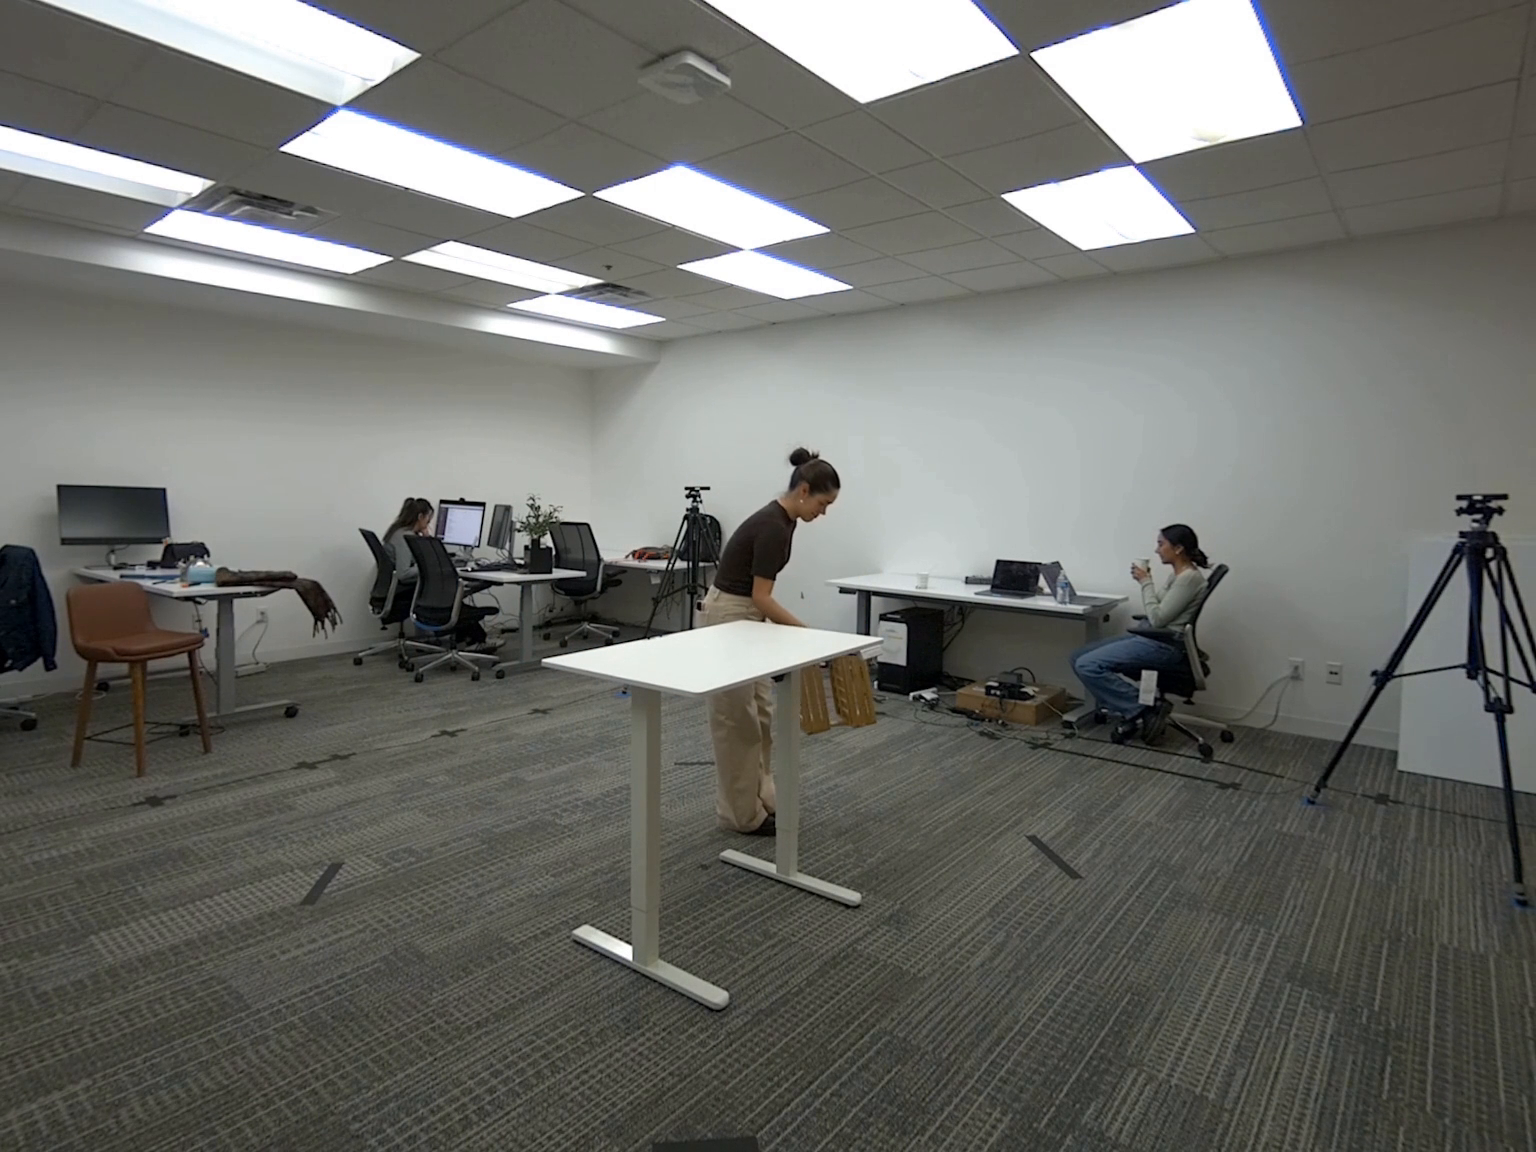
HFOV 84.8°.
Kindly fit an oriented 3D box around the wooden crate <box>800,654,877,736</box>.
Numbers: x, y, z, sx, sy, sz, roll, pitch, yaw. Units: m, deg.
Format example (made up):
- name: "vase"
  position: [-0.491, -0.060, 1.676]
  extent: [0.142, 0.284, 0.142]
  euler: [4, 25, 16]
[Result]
- name: "wooden crate"
  position: [0.219, 0.412, 3.302]
  extent: [0.270, 0.322, 0.308]
  euler: [-12, 8, -13]
